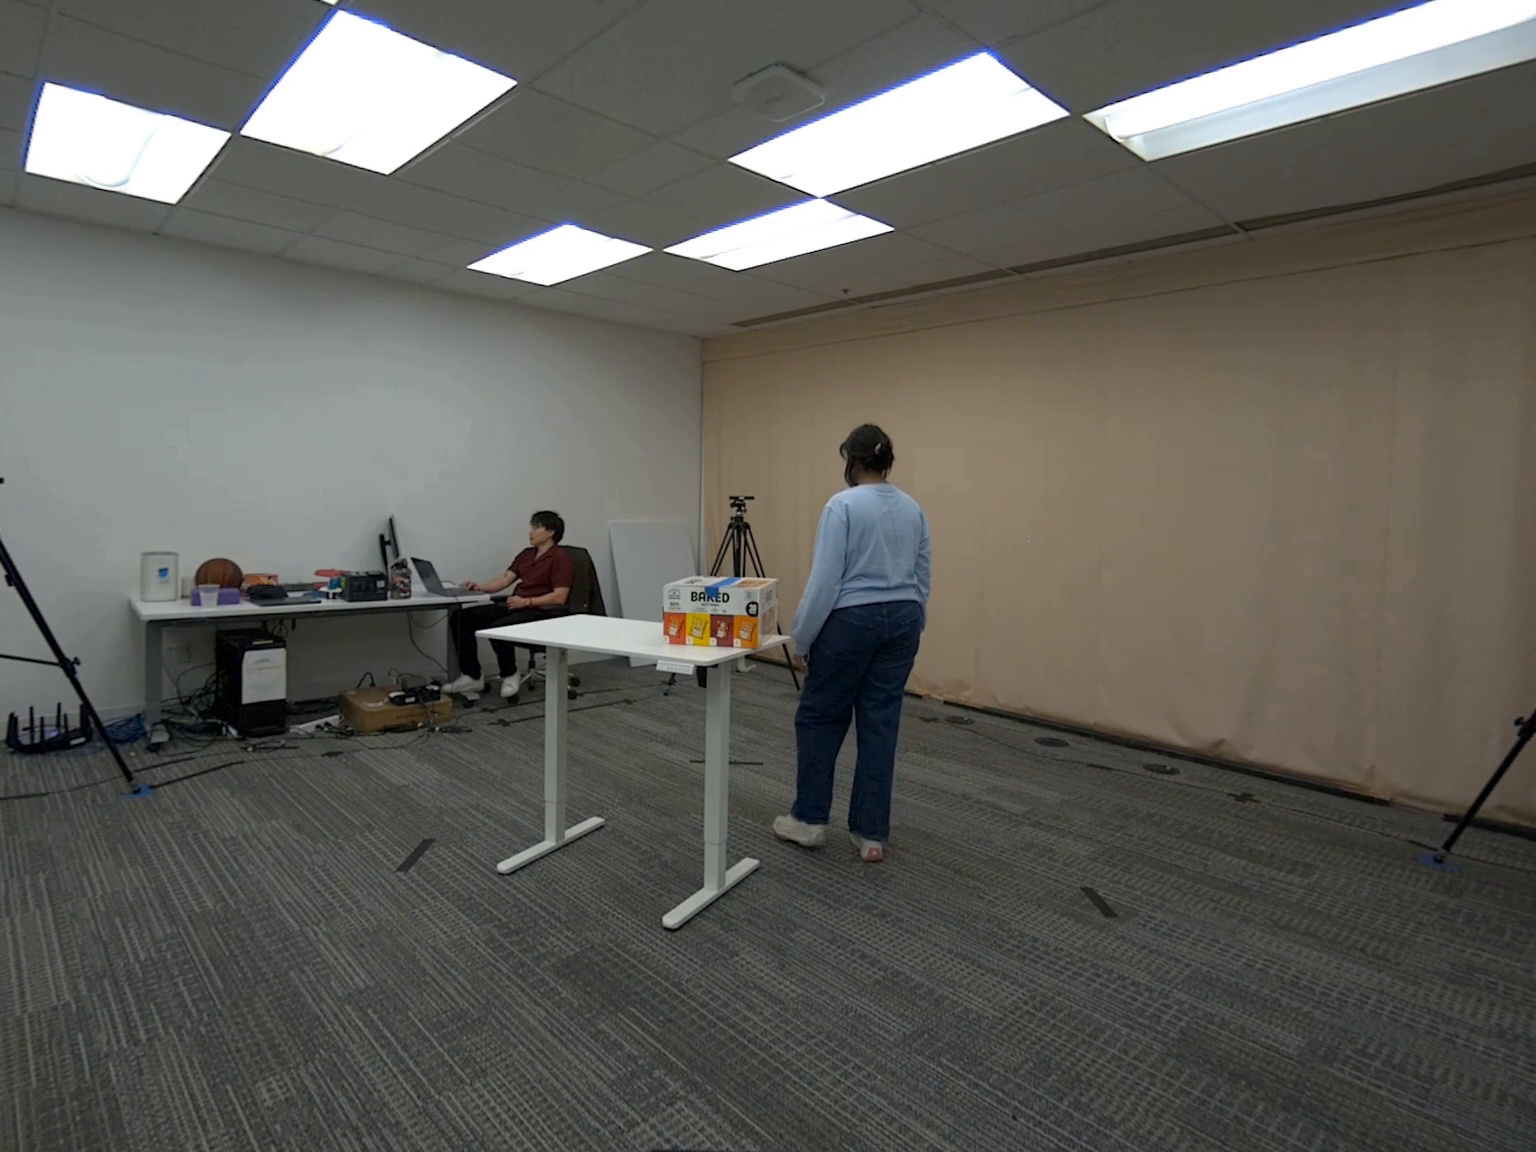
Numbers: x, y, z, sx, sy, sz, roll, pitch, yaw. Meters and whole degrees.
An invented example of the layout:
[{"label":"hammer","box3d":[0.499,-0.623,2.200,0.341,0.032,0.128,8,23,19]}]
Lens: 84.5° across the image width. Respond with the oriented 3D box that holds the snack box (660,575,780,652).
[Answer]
[{"label":"snack box","box3d":[-0.164,0.124,3.050,0.343,0.205,0.402,3,5,11]}]
